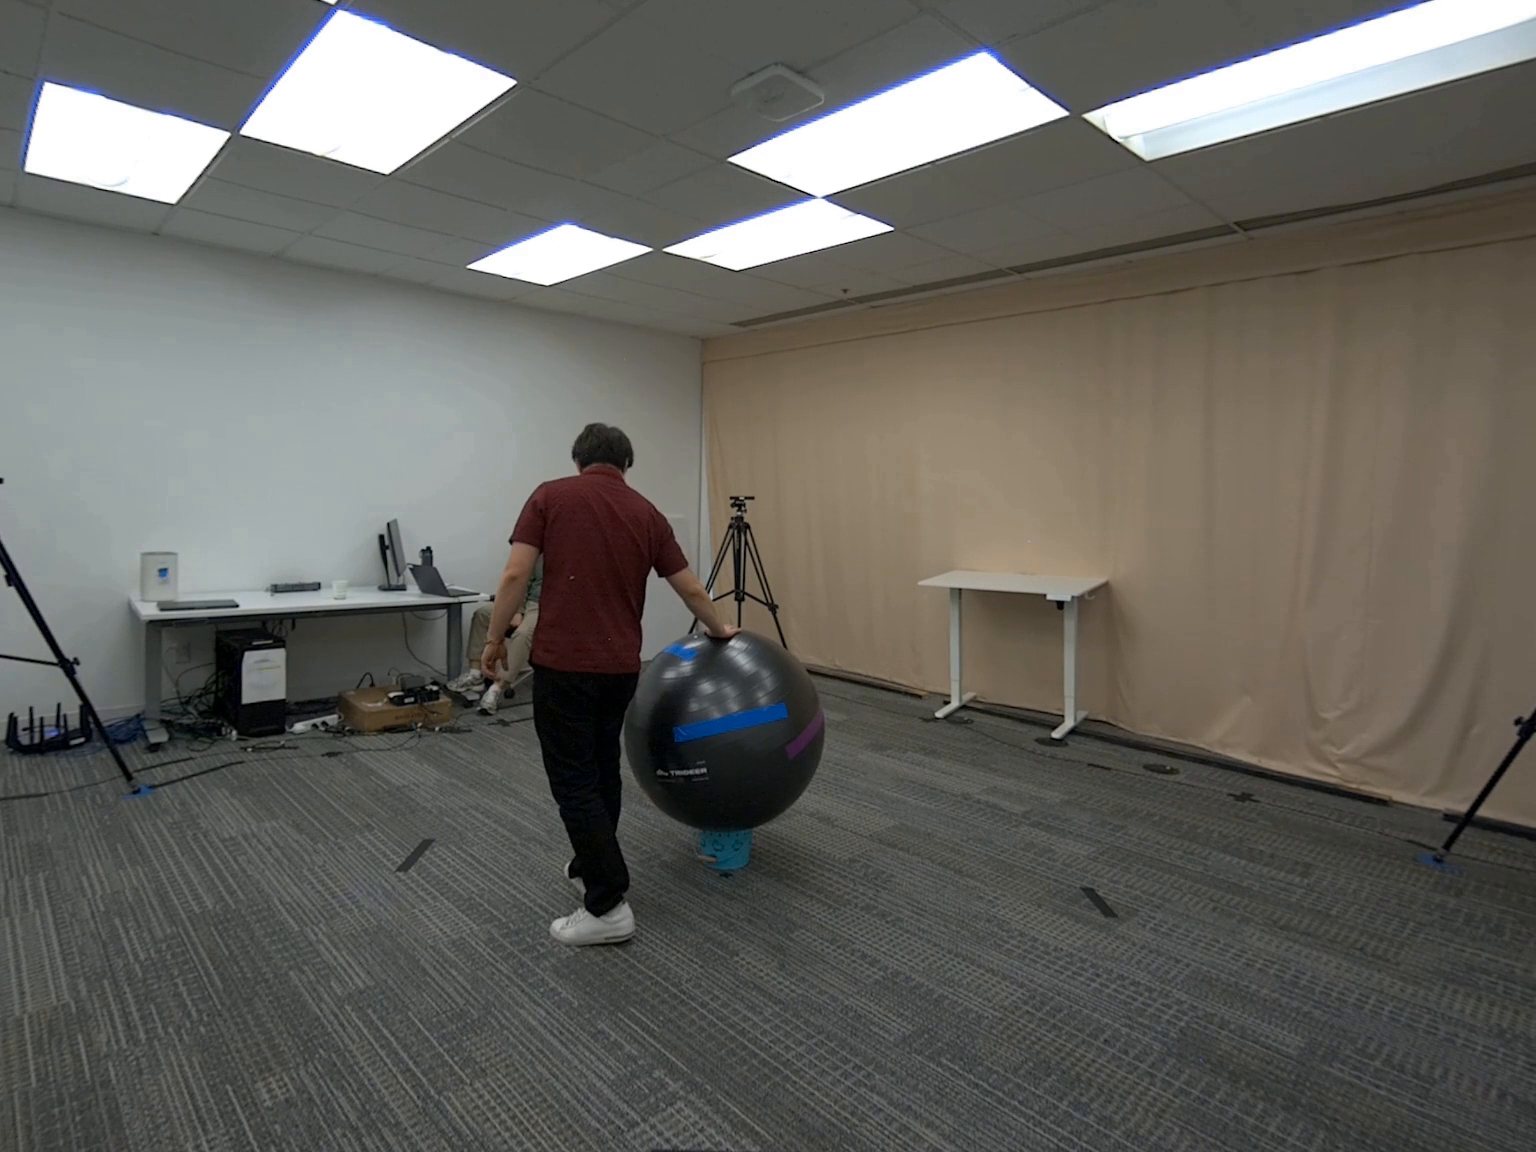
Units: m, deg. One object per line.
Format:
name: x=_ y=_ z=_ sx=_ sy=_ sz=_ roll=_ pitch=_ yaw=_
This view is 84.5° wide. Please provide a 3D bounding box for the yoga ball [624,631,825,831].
yoga ball: x=-0.170 y=0.584 z=3.205 sx=0.757 sy=0.756 sz=0.761 roll=1 pitch=4 yaw=-1
